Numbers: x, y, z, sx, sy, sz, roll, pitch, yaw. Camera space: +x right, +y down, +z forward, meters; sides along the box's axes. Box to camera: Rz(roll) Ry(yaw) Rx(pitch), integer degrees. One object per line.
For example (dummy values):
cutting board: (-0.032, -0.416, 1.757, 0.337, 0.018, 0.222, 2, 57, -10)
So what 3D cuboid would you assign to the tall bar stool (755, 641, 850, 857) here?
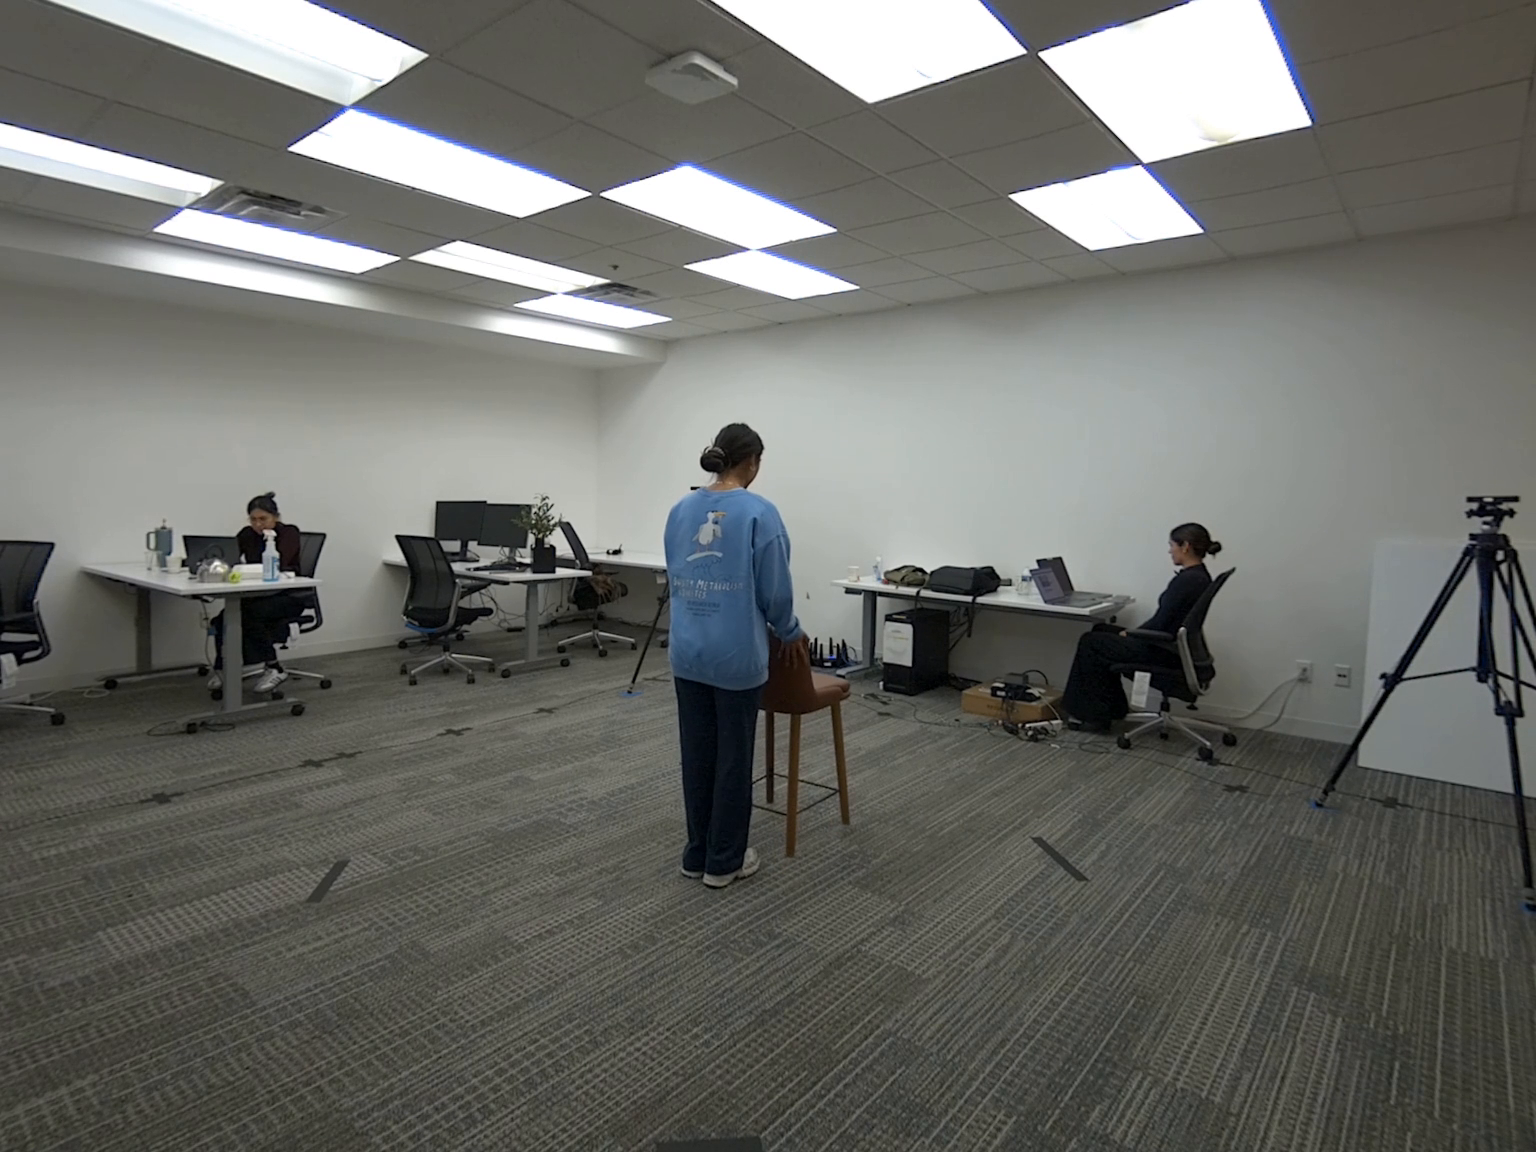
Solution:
tall bar stool: (0.050, 0.598, 3.471, 0.471, 0.885, 0.455, 3, 6, 35)
